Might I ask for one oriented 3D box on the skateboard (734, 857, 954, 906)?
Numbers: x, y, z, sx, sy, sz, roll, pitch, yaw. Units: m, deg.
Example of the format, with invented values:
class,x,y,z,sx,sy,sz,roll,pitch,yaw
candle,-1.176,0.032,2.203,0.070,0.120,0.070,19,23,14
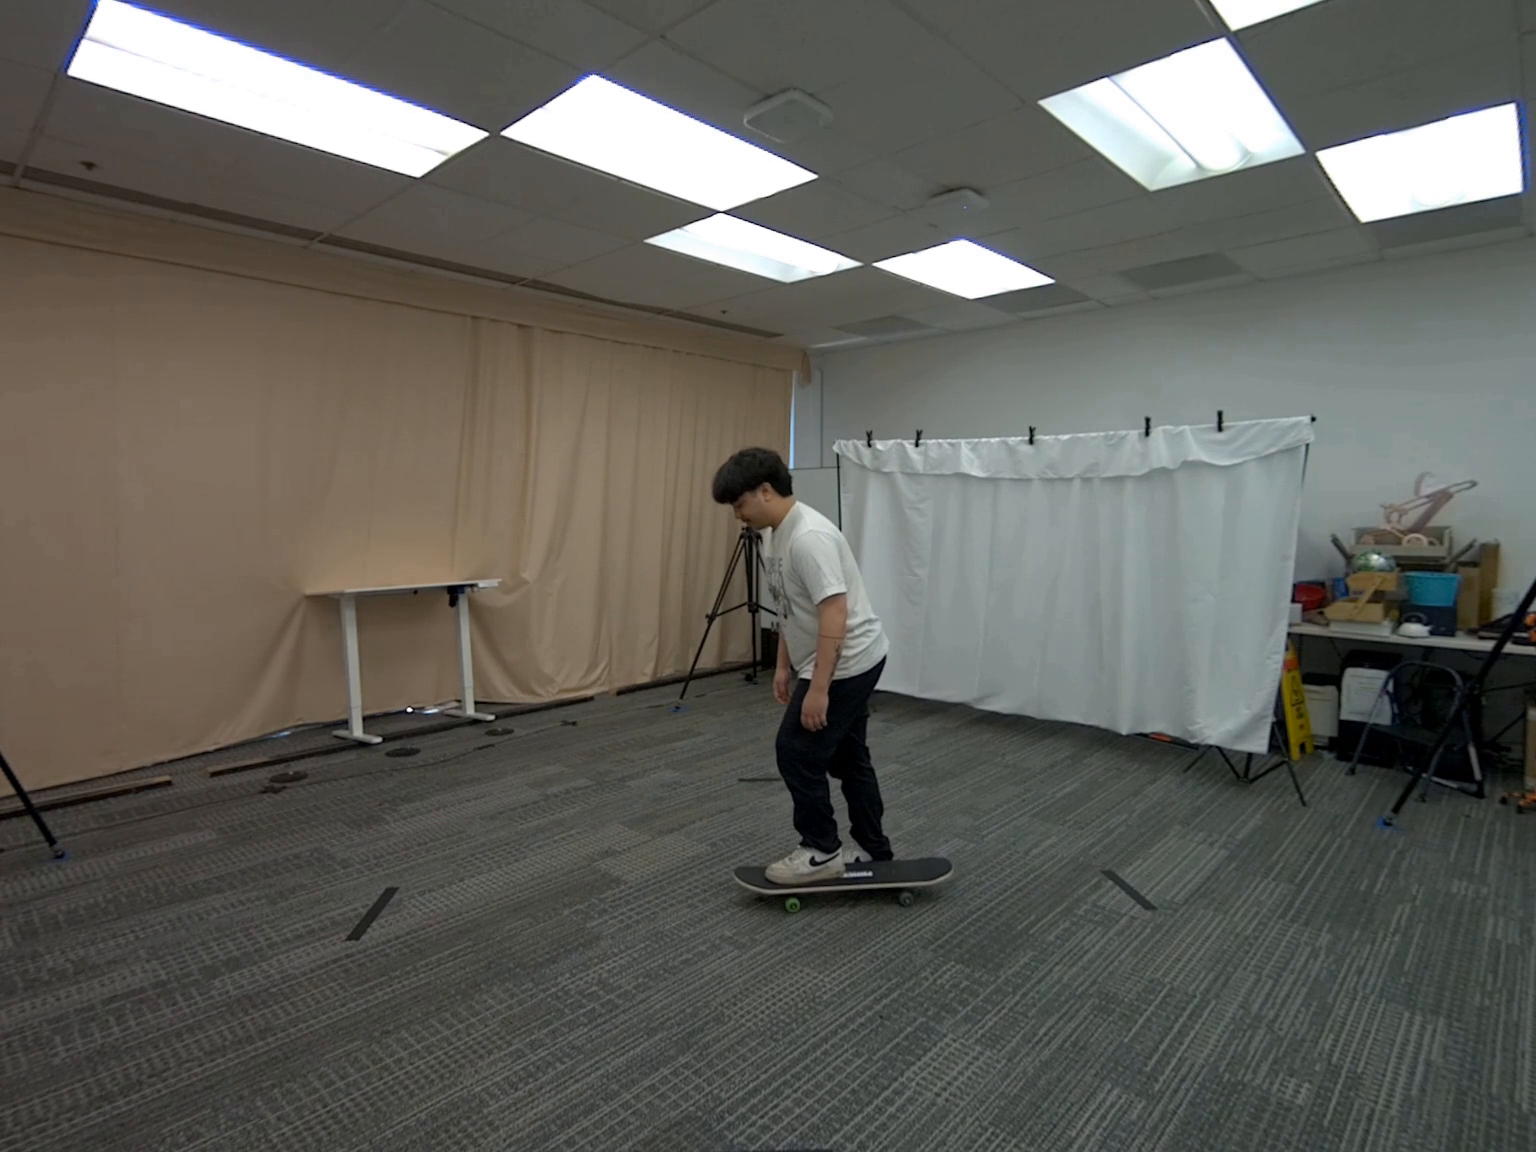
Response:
class,x,y,z,sx,sy,sz,roll,pitch,yaw
skateboard,0.273,1.084,2.984,0.781,0.110,0.195,-1,4,-5
